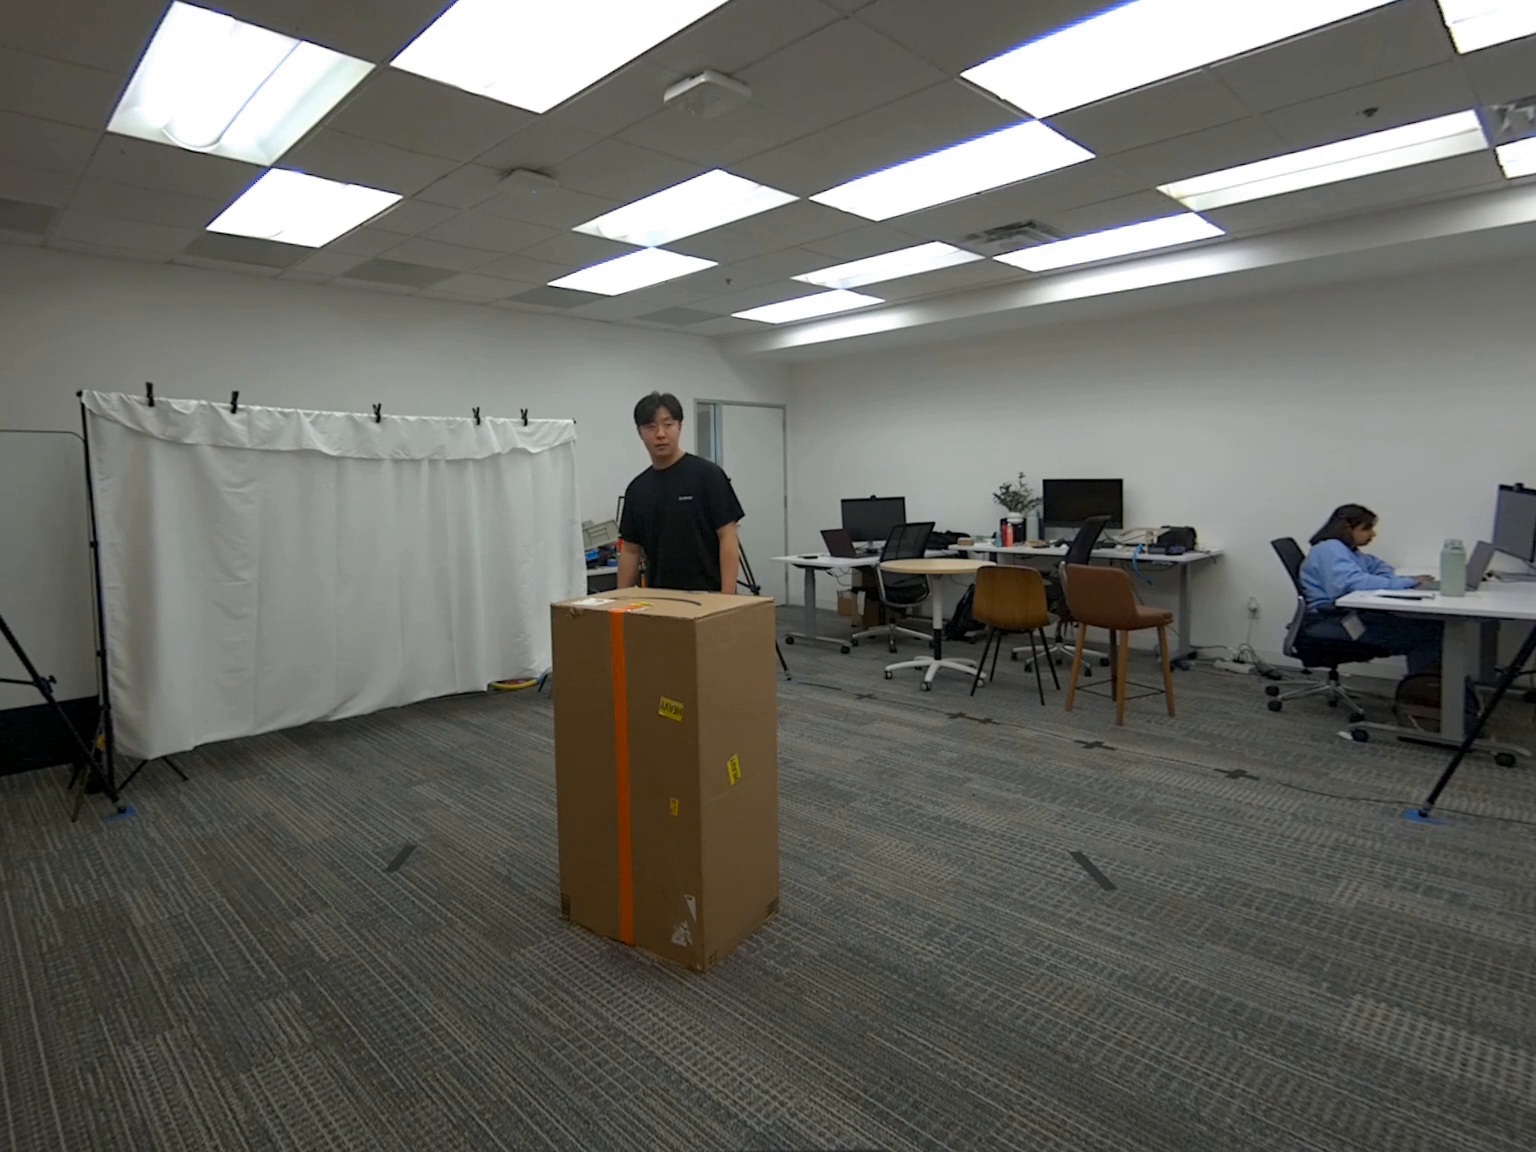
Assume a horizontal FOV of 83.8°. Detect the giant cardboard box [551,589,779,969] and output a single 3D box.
[{"bbox_3d":[-0.324,0.583,2.714,0.601,1.023,0.436,2,6,35],"label":"giant cardboard box"}]
